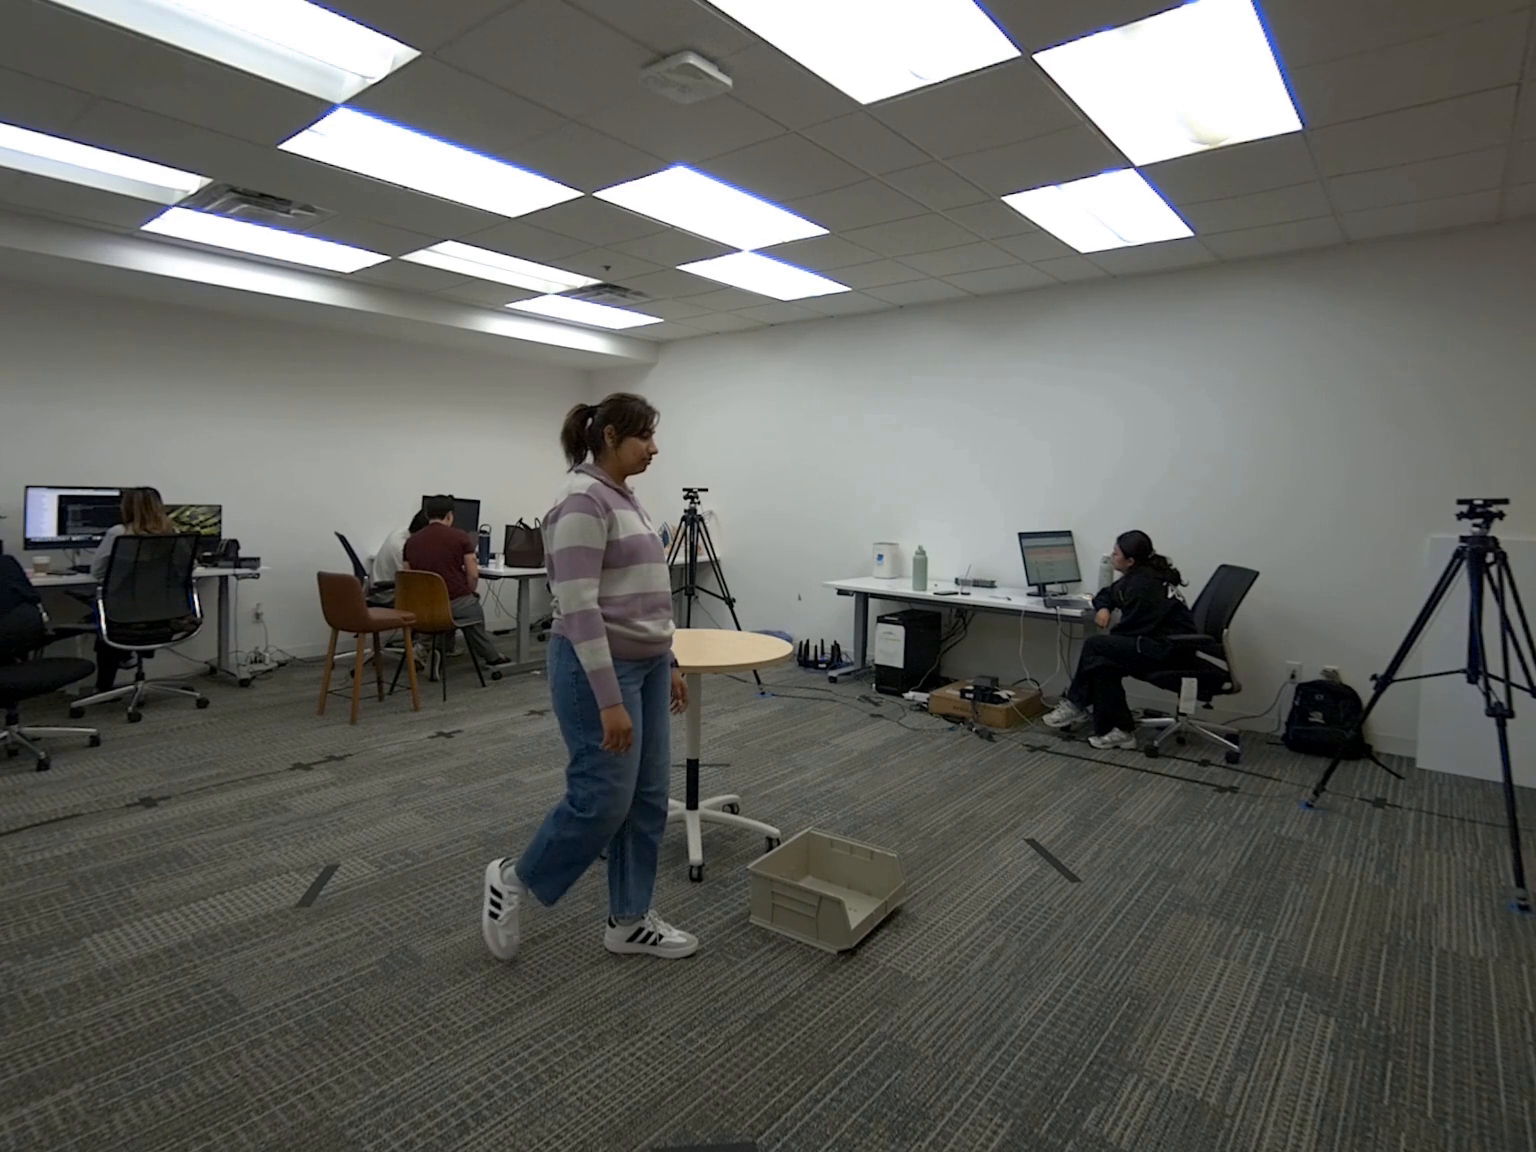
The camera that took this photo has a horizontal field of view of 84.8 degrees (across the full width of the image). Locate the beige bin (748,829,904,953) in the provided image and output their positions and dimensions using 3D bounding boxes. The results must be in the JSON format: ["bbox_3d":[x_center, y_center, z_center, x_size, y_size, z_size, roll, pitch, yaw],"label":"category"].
[{"bbox_3d":[0.192,1.020,2.789,0.389,0.188,0.411,3,5,33],"label":"beige bin"}]
